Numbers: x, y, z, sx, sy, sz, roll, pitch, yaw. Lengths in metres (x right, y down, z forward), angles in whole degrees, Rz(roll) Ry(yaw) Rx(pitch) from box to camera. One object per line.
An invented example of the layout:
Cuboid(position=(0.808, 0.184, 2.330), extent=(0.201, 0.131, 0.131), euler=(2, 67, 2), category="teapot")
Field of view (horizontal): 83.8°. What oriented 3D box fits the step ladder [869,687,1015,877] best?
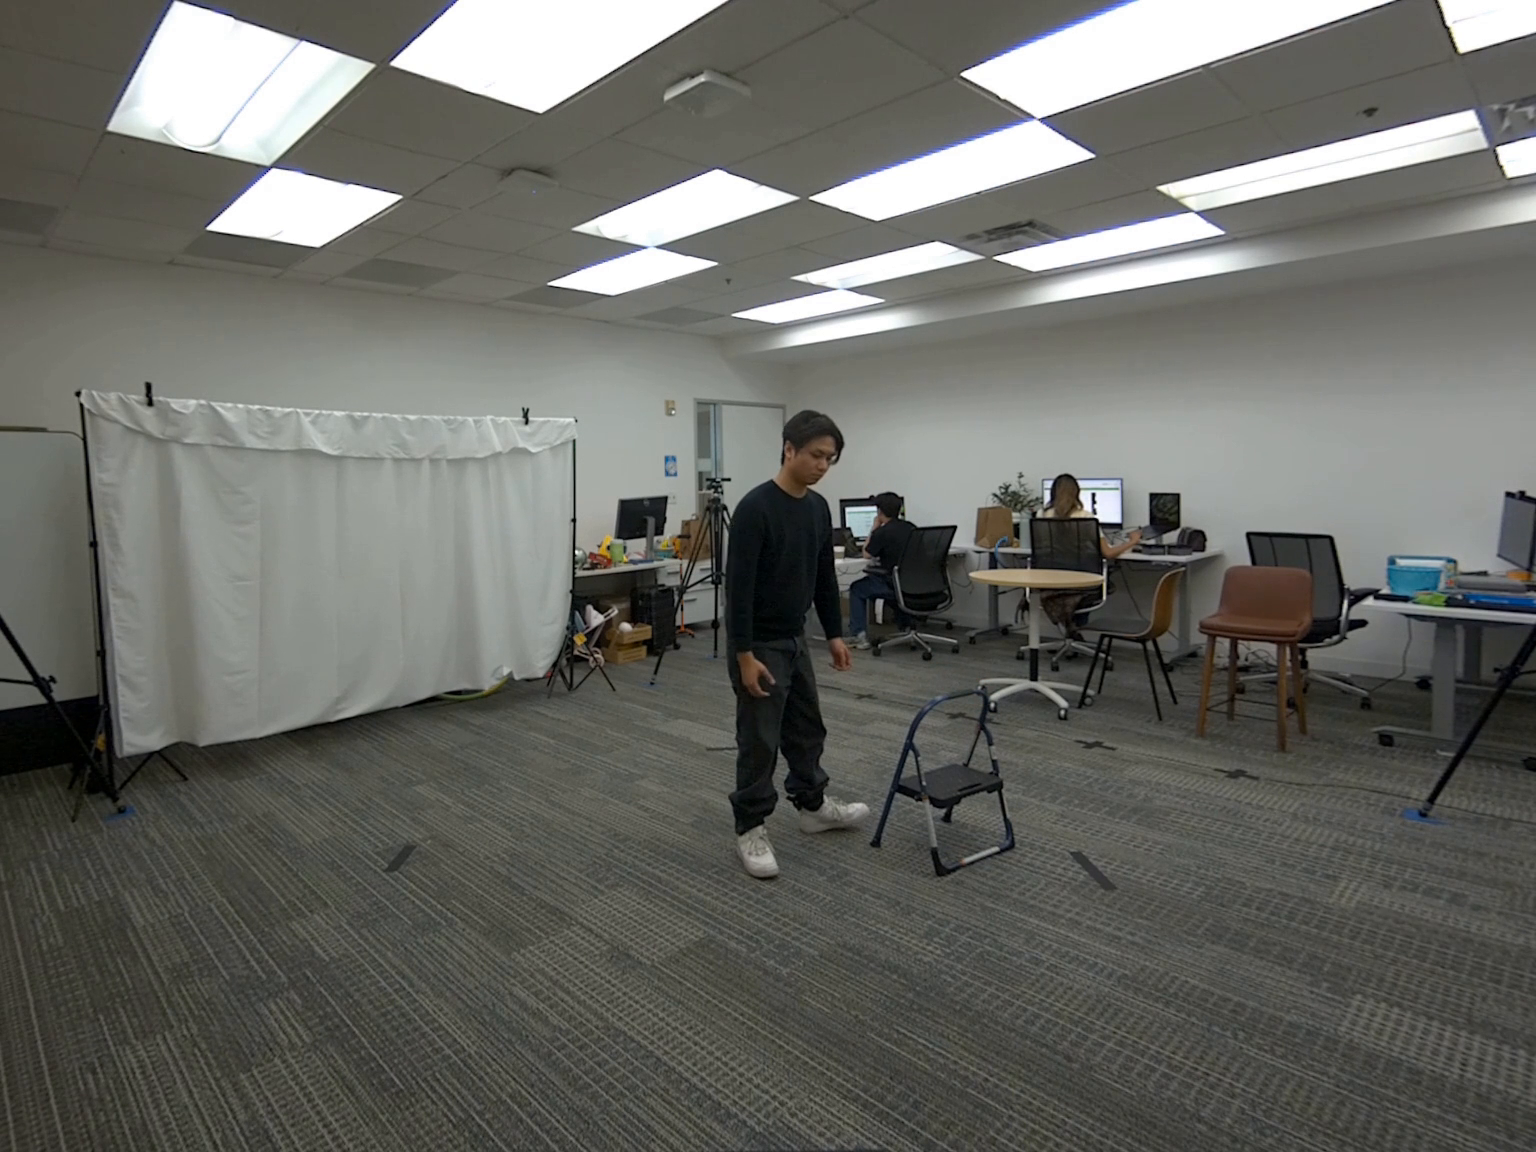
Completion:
Cuboid(position=(0.655, 0.717, 3.196), extent=(0.419, 0.604, 0.360), euler=(-2, 5, -36), category="step ladder")
